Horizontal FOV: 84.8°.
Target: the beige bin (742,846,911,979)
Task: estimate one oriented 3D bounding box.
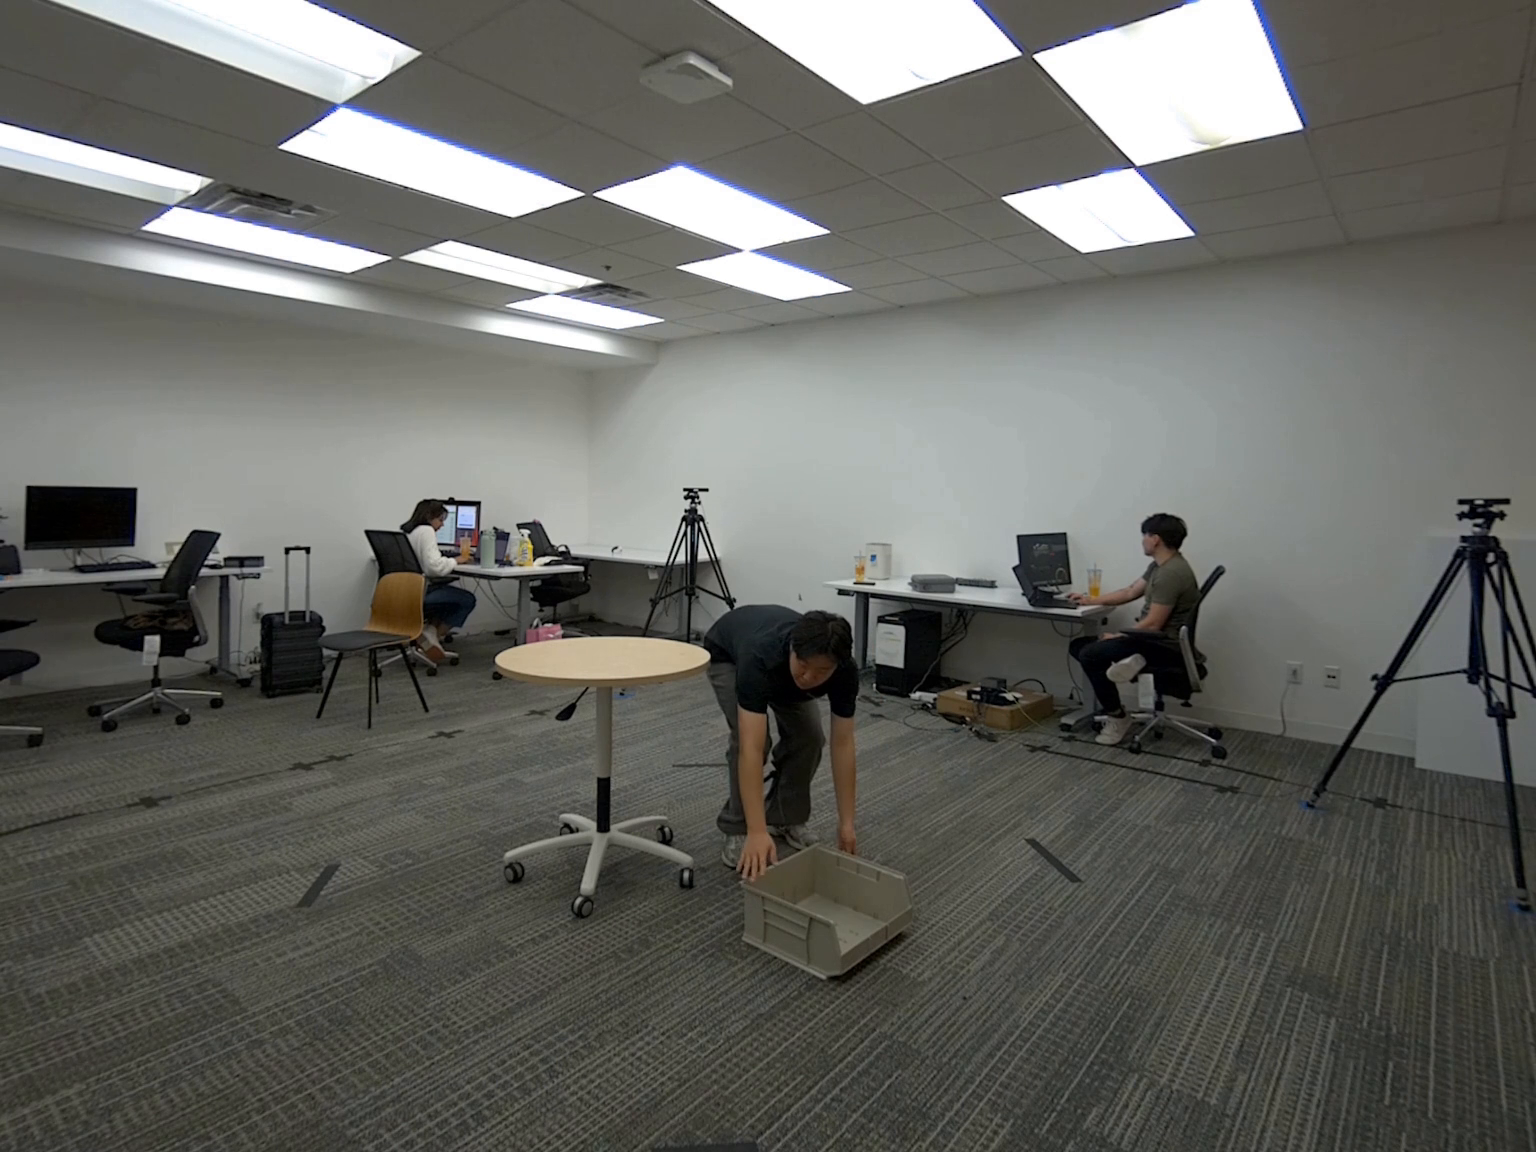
[{"bbox_3d":[0.178,1.034,2.654,0.390,0.188,0.410,4,6,39],"label":"beige bin"}]
